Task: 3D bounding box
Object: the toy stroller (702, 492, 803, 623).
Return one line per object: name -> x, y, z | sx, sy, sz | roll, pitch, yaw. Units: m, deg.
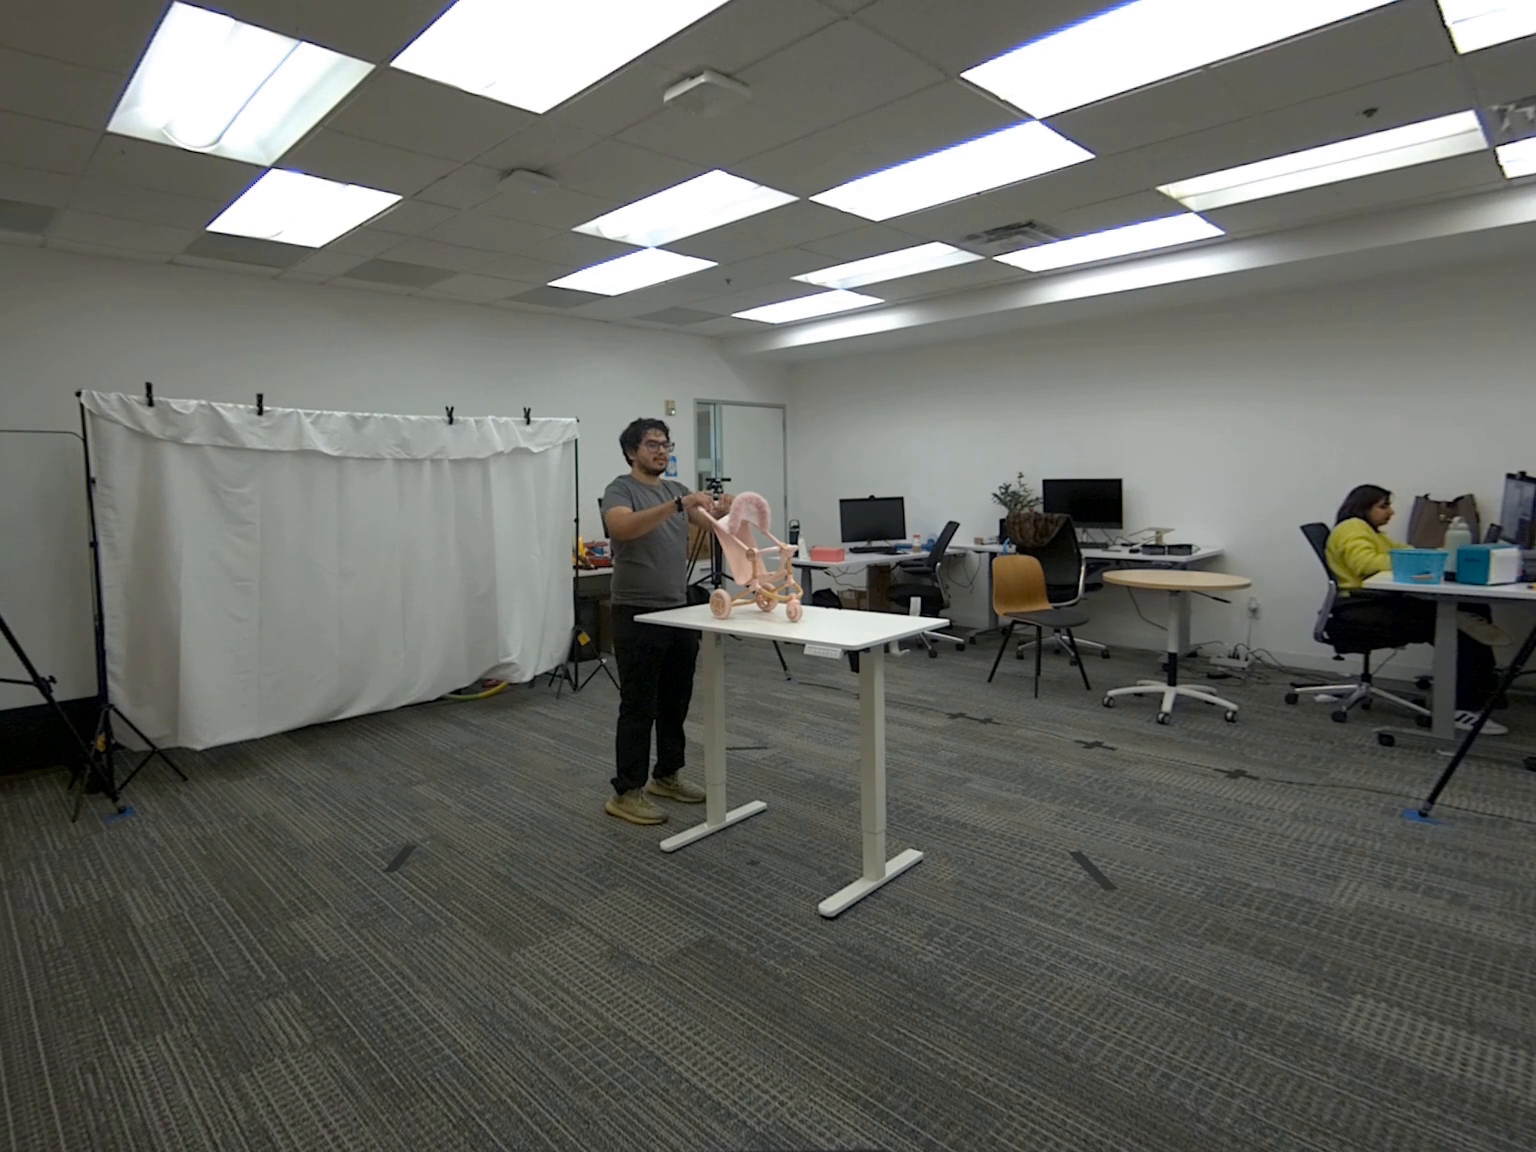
toy stroller -> -0.050, -0.070, 3.161 | 0.274, 0.540, 0.347 | -4, -11, -42
